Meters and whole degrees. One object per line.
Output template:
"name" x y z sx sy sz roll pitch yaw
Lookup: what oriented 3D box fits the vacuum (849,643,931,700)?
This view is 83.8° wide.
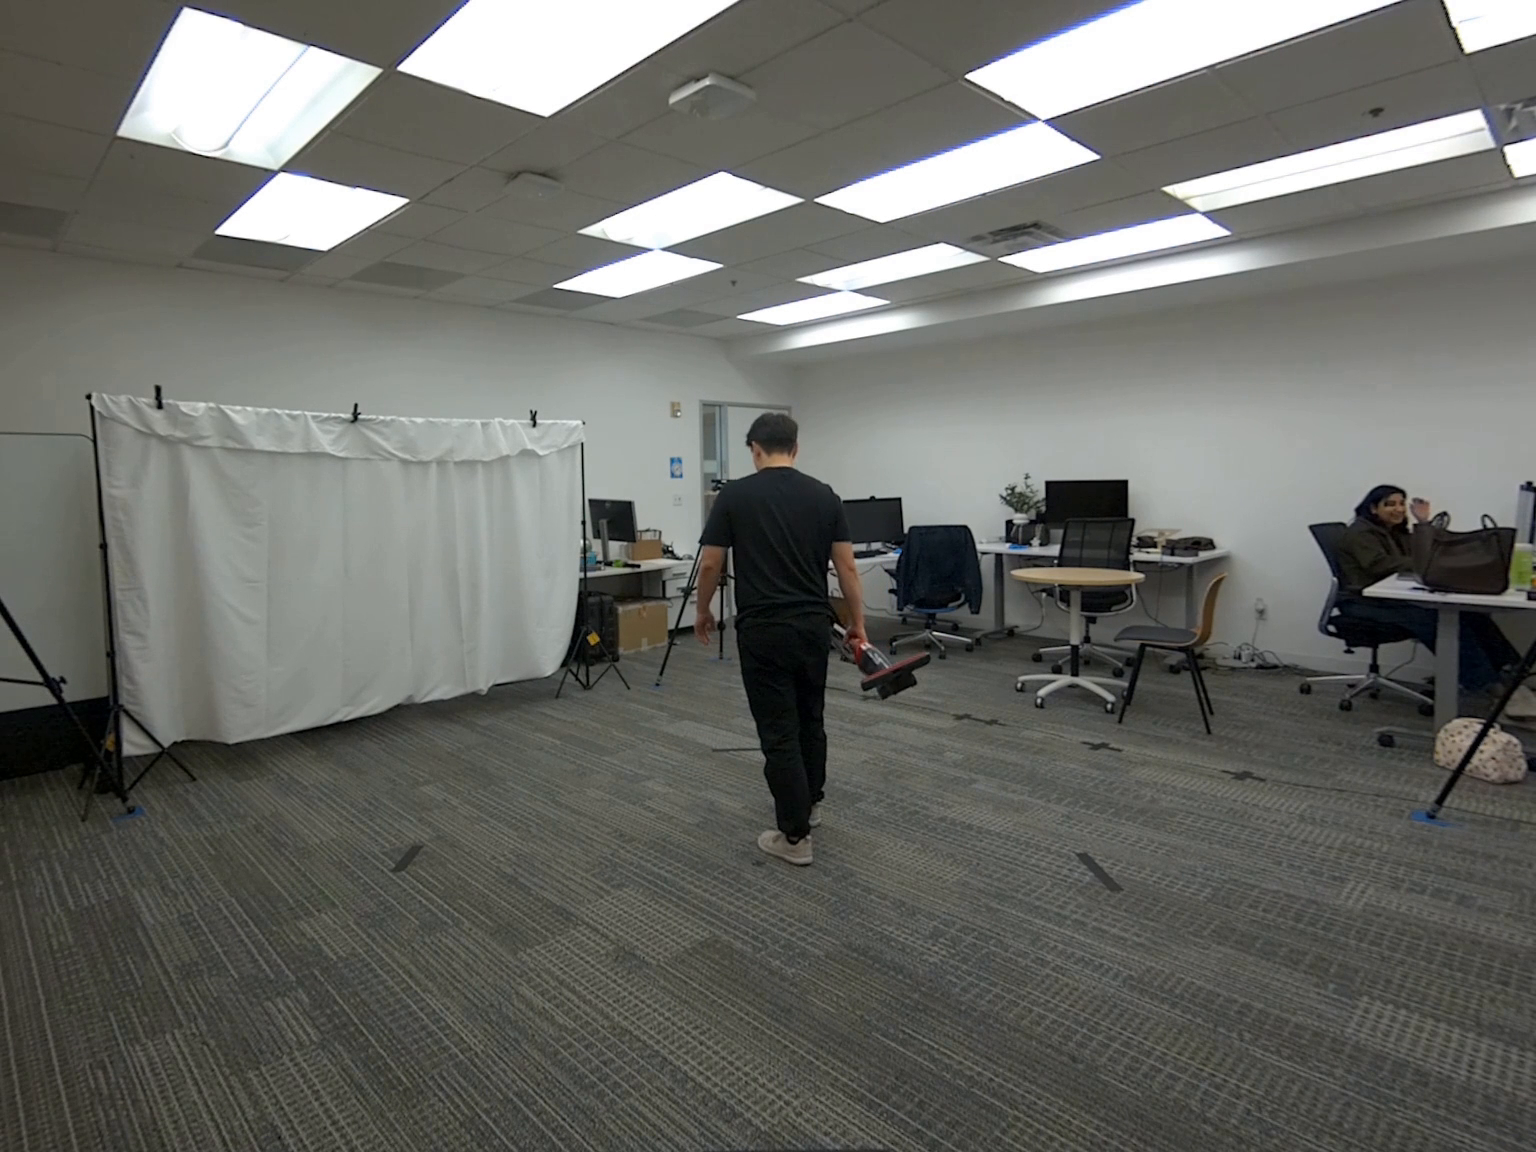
"vacuum" 0.335 0.284 3.435 0.251 0.142 1.064 -19 10 -8
